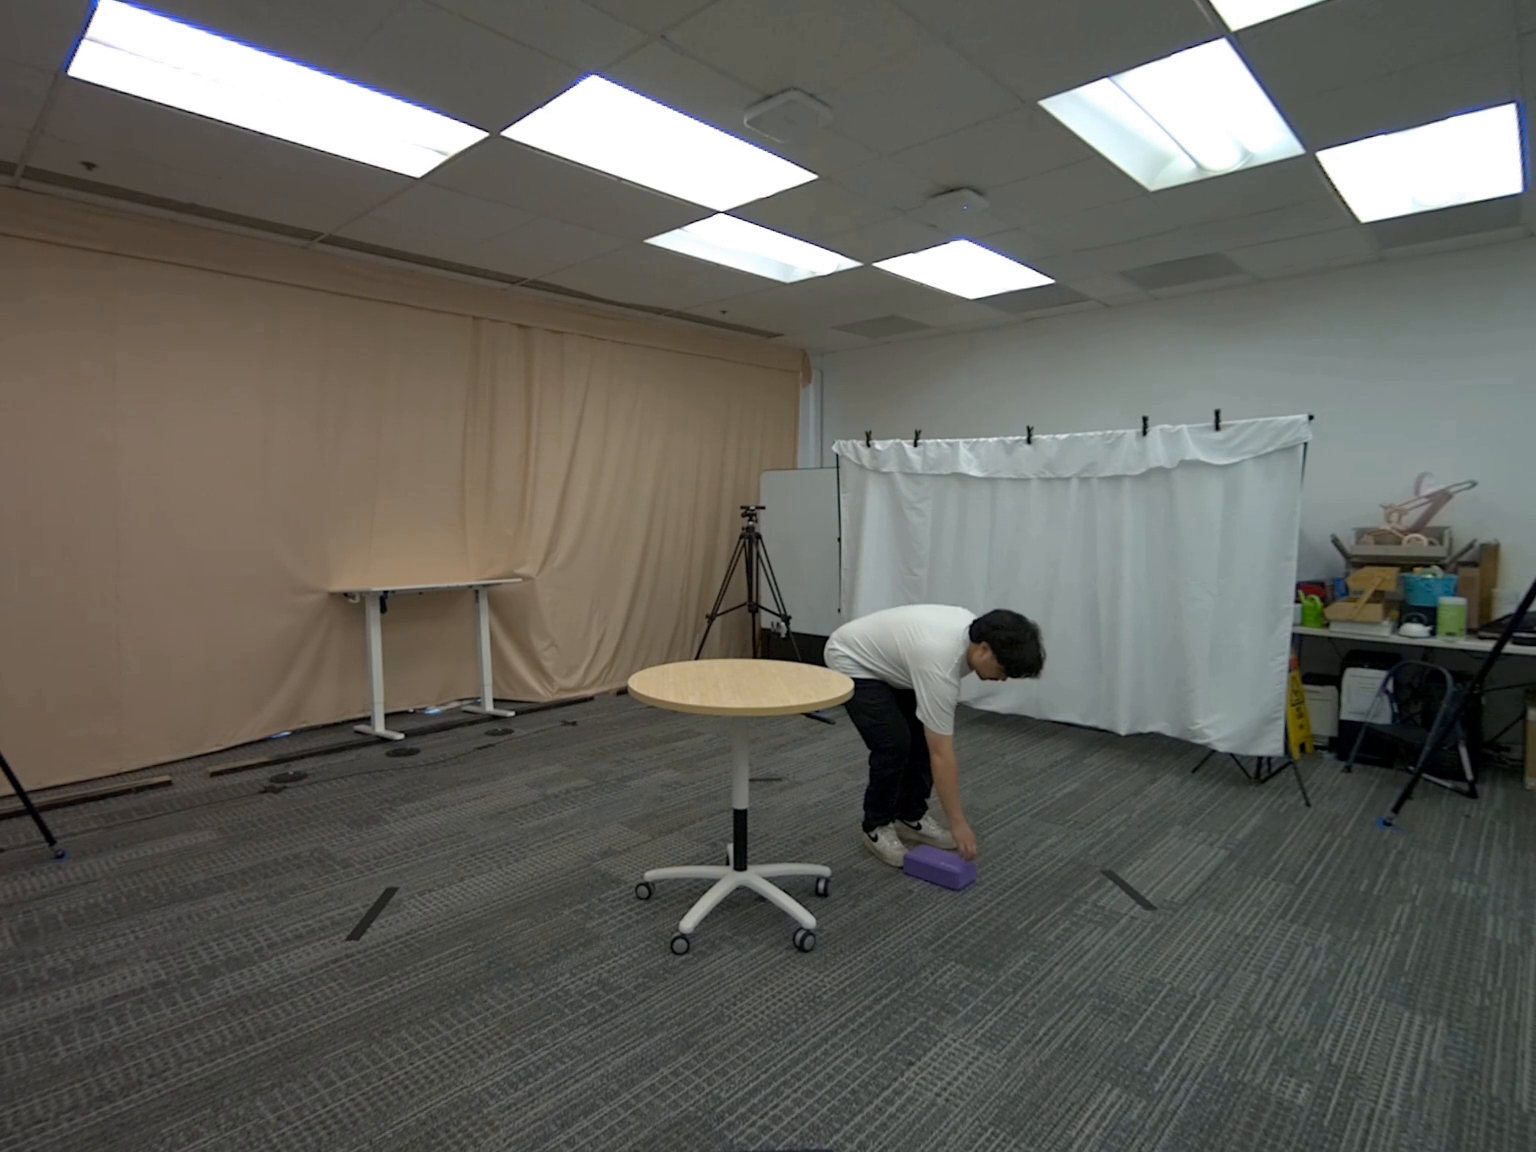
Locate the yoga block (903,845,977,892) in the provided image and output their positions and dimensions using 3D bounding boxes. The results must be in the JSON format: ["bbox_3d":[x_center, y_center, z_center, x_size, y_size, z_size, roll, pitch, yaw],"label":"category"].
[{"bbox_3d":[0.640,1.080,3.158,0.237,0.076,0.144,5,6,41],"label":"yoga block"}]
